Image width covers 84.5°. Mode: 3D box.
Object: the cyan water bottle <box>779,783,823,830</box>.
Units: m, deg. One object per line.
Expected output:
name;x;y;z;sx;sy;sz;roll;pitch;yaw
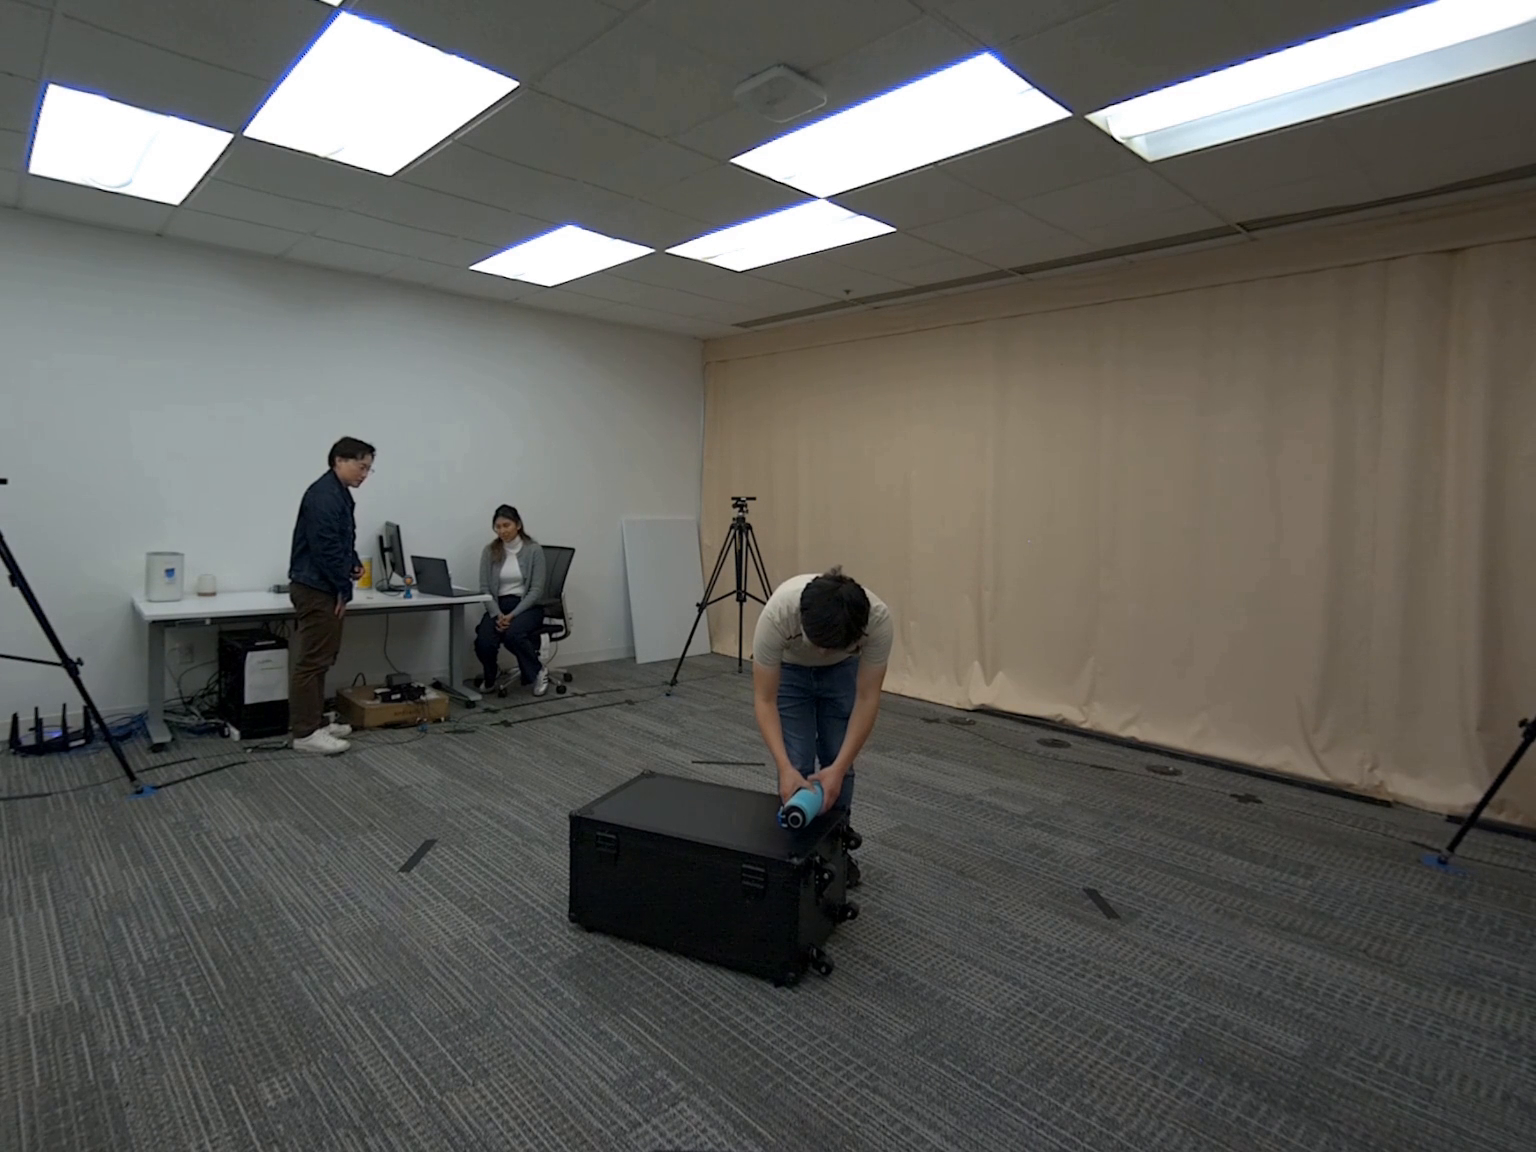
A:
cyan water bottle;0.097;0.717;2.600;0.094;0.092;0.280;3;5;19
